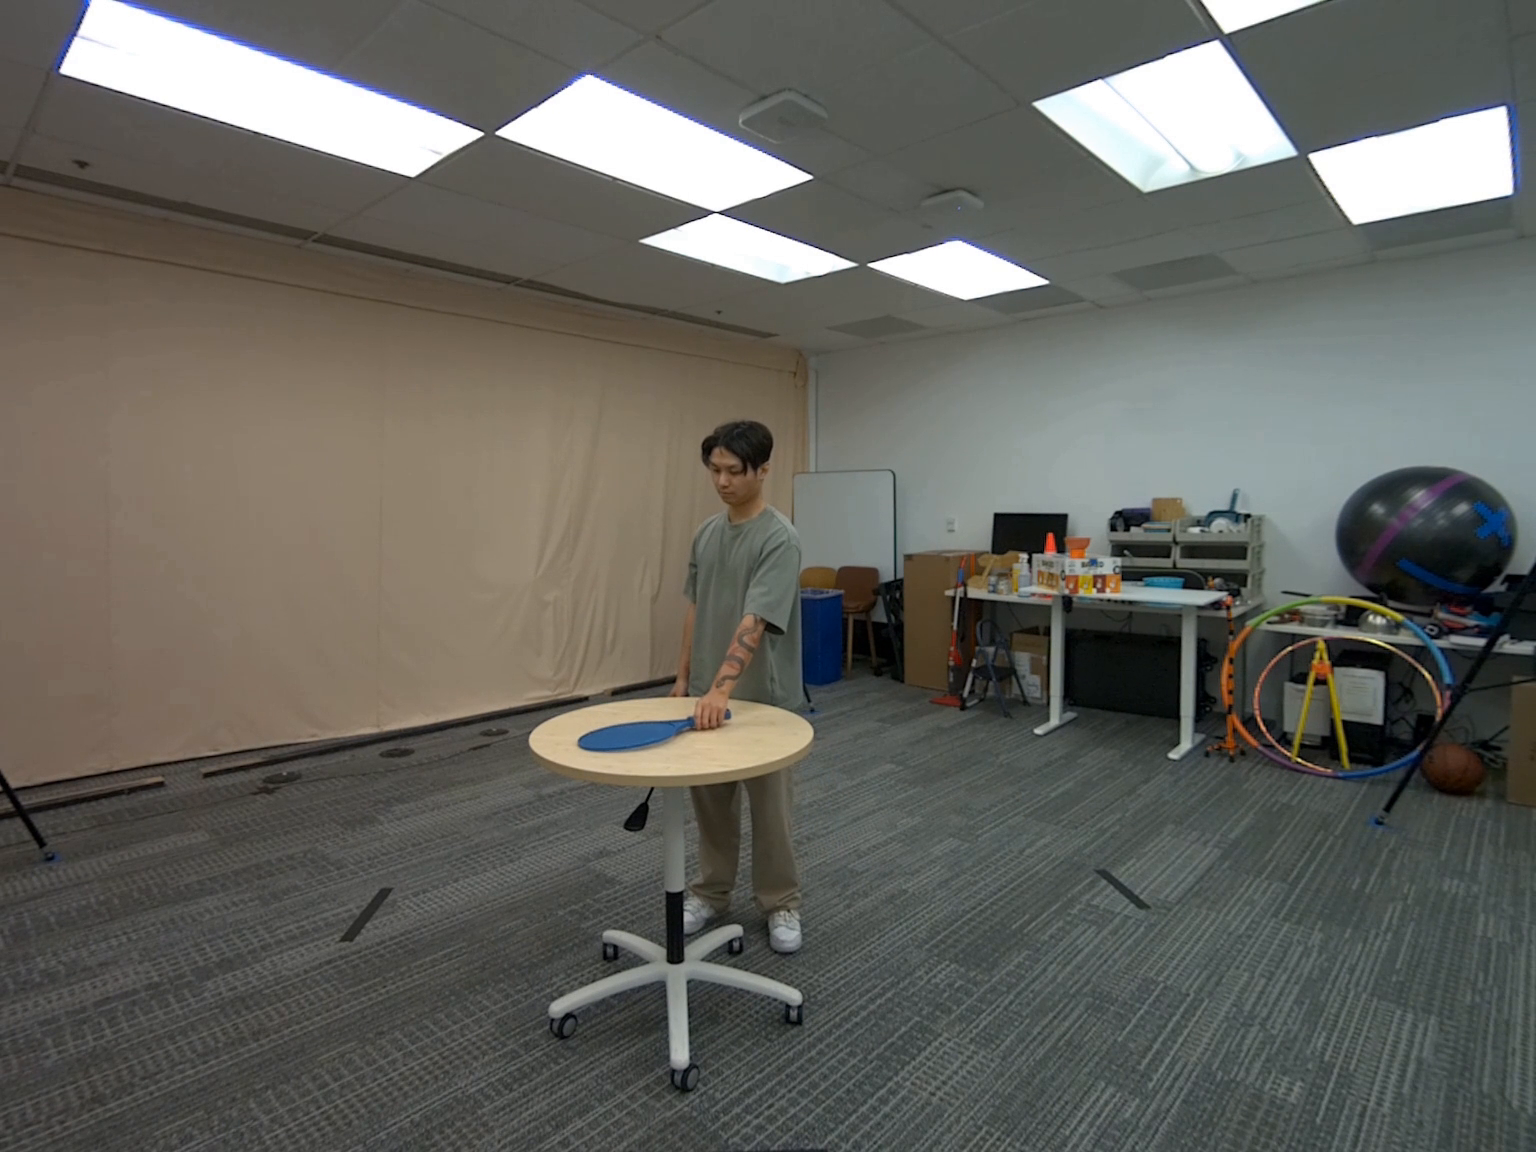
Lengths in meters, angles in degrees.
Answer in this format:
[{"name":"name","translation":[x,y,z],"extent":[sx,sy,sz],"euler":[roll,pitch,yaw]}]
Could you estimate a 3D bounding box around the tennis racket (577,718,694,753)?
[{"name":"tennis racket","translation":[-0.294,0.406,2.239],"extent":[0.423,0.031,0.220],"euler":[-6,8,-26]}]
